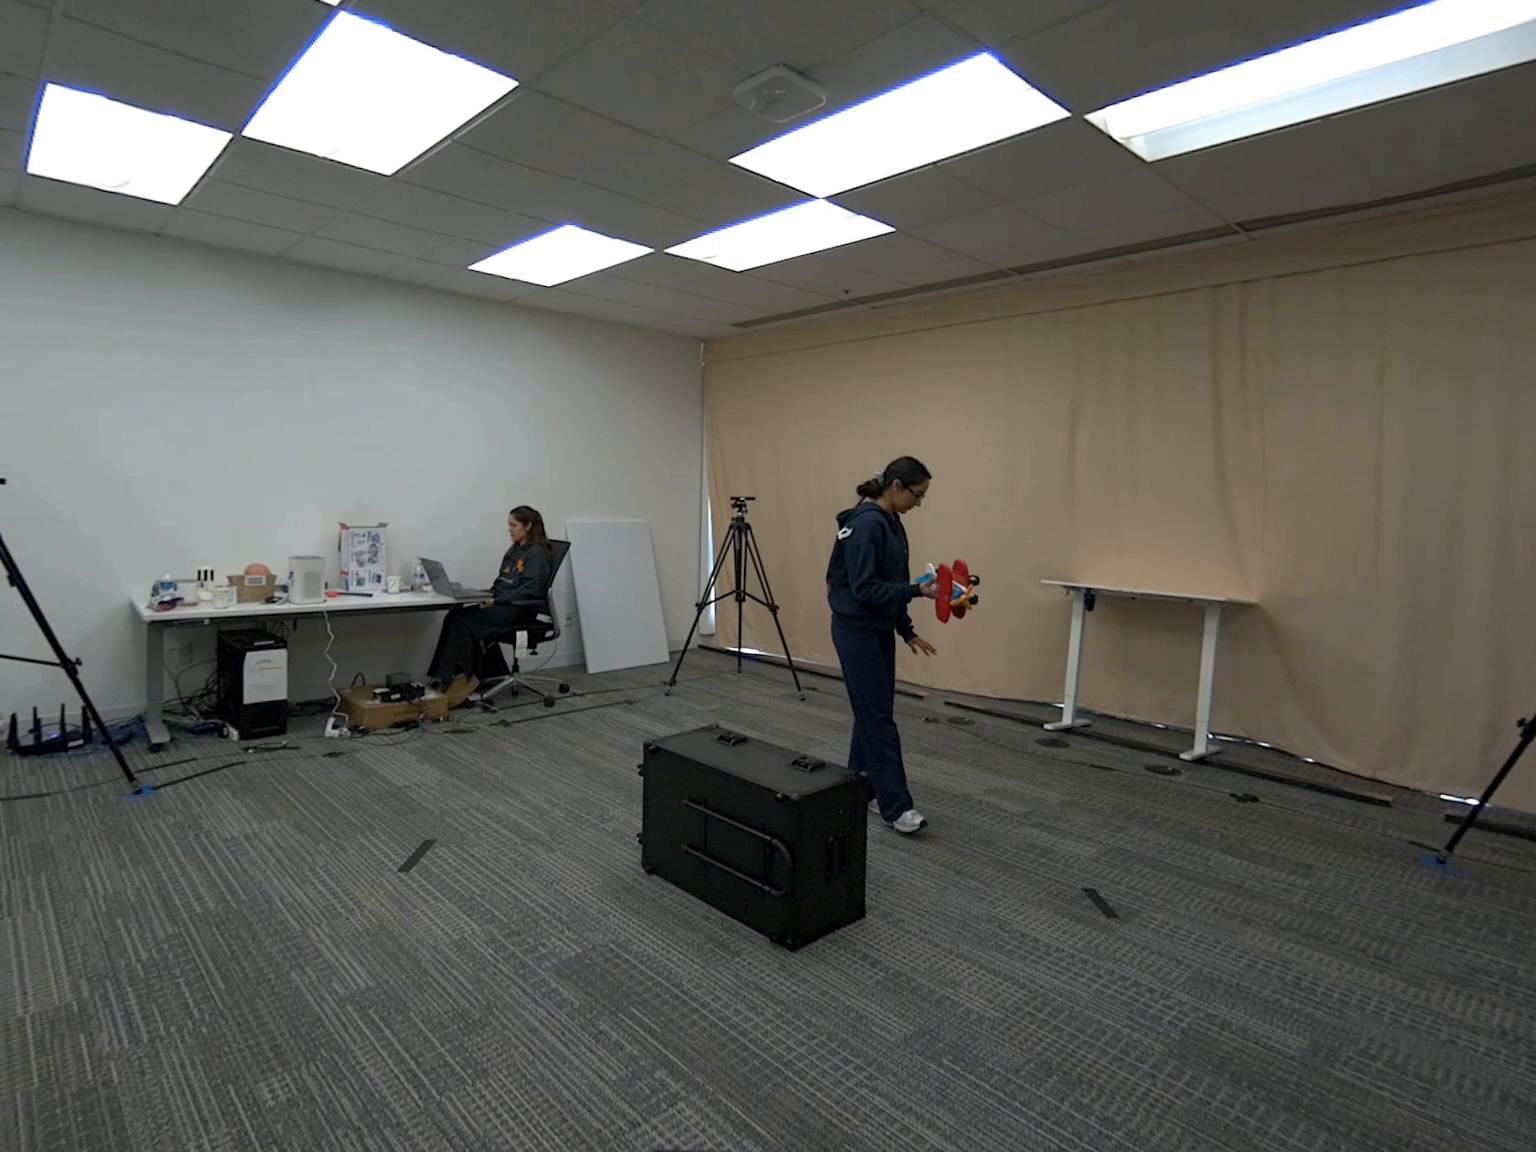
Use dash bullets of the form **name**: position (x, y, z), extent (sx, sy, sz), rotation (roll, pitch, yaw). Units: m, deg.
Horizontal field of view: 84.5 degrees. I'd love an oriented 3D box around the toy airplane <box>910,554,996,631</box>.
- **toy airplane**: position (0.735, 0.068, 3.444), extent (0.154, 0.251, 0.263), rotation (-18, 2, -34)
